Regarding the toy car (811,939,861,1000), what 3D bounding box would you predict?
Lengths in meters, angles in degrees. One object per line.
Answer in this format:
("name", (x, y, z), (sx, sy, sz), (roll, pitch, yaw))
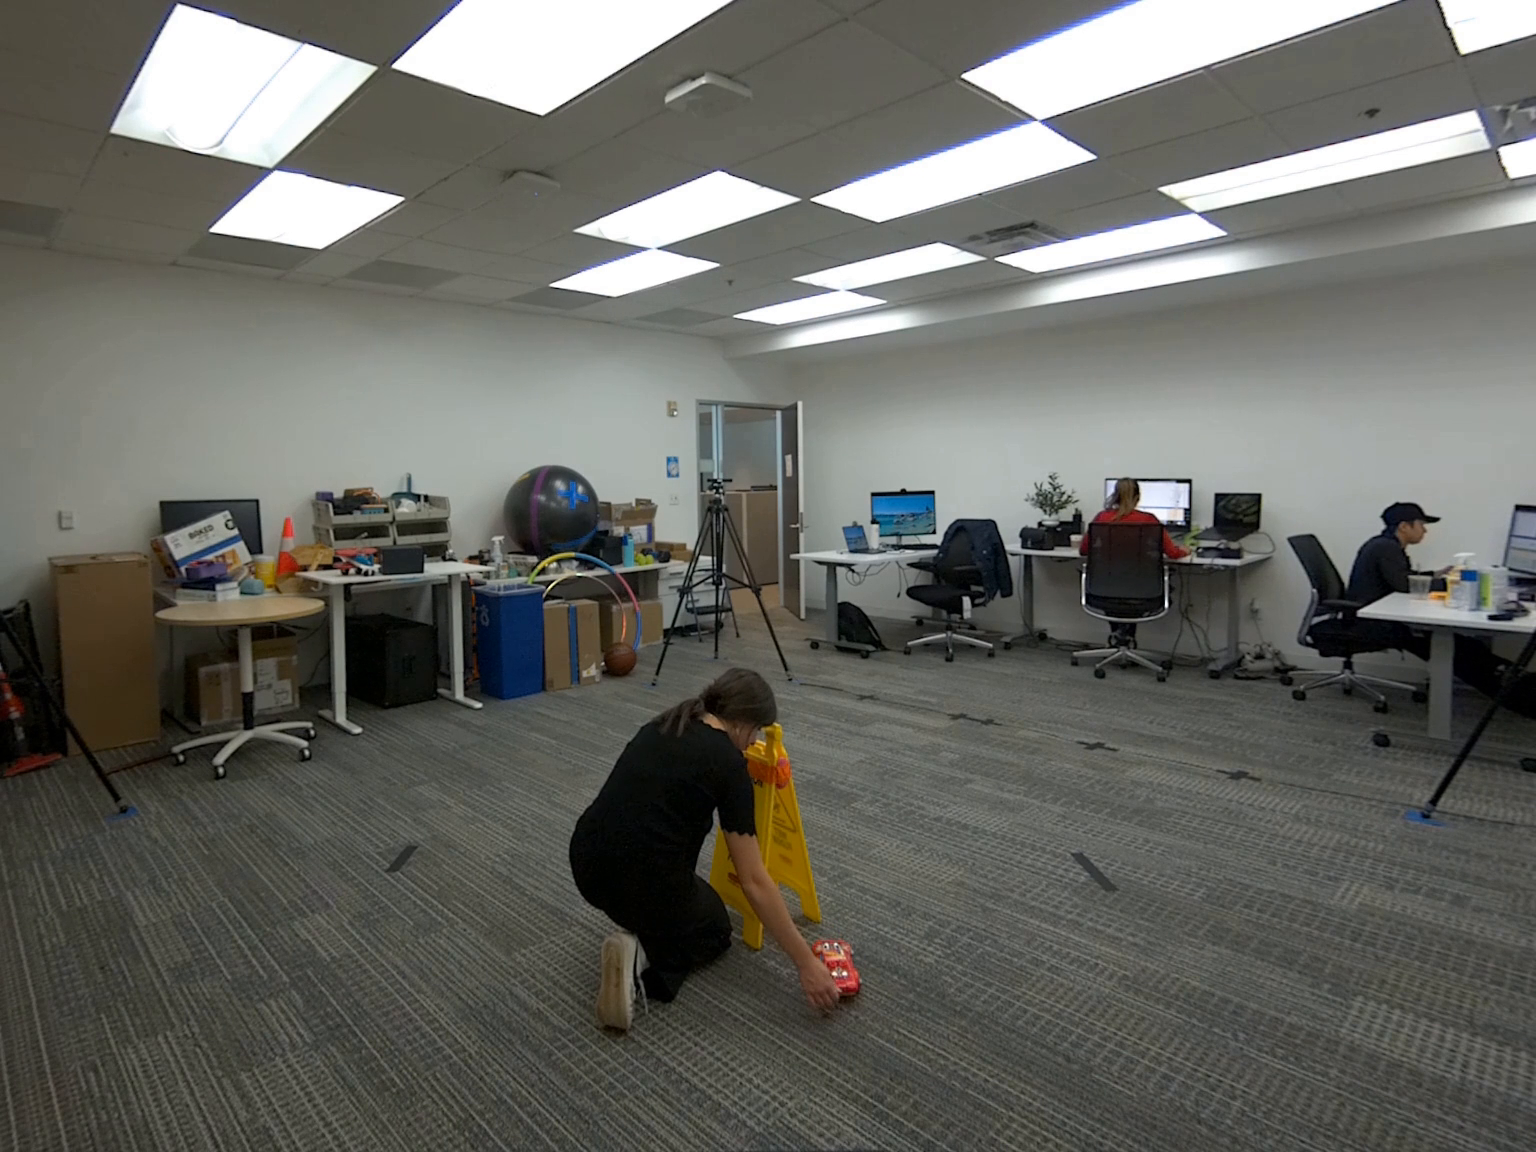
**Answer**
("toy car", (0.187, 1.091, 2.369), (0.130, 0.084, 0.253), (-1, -5, -3))
